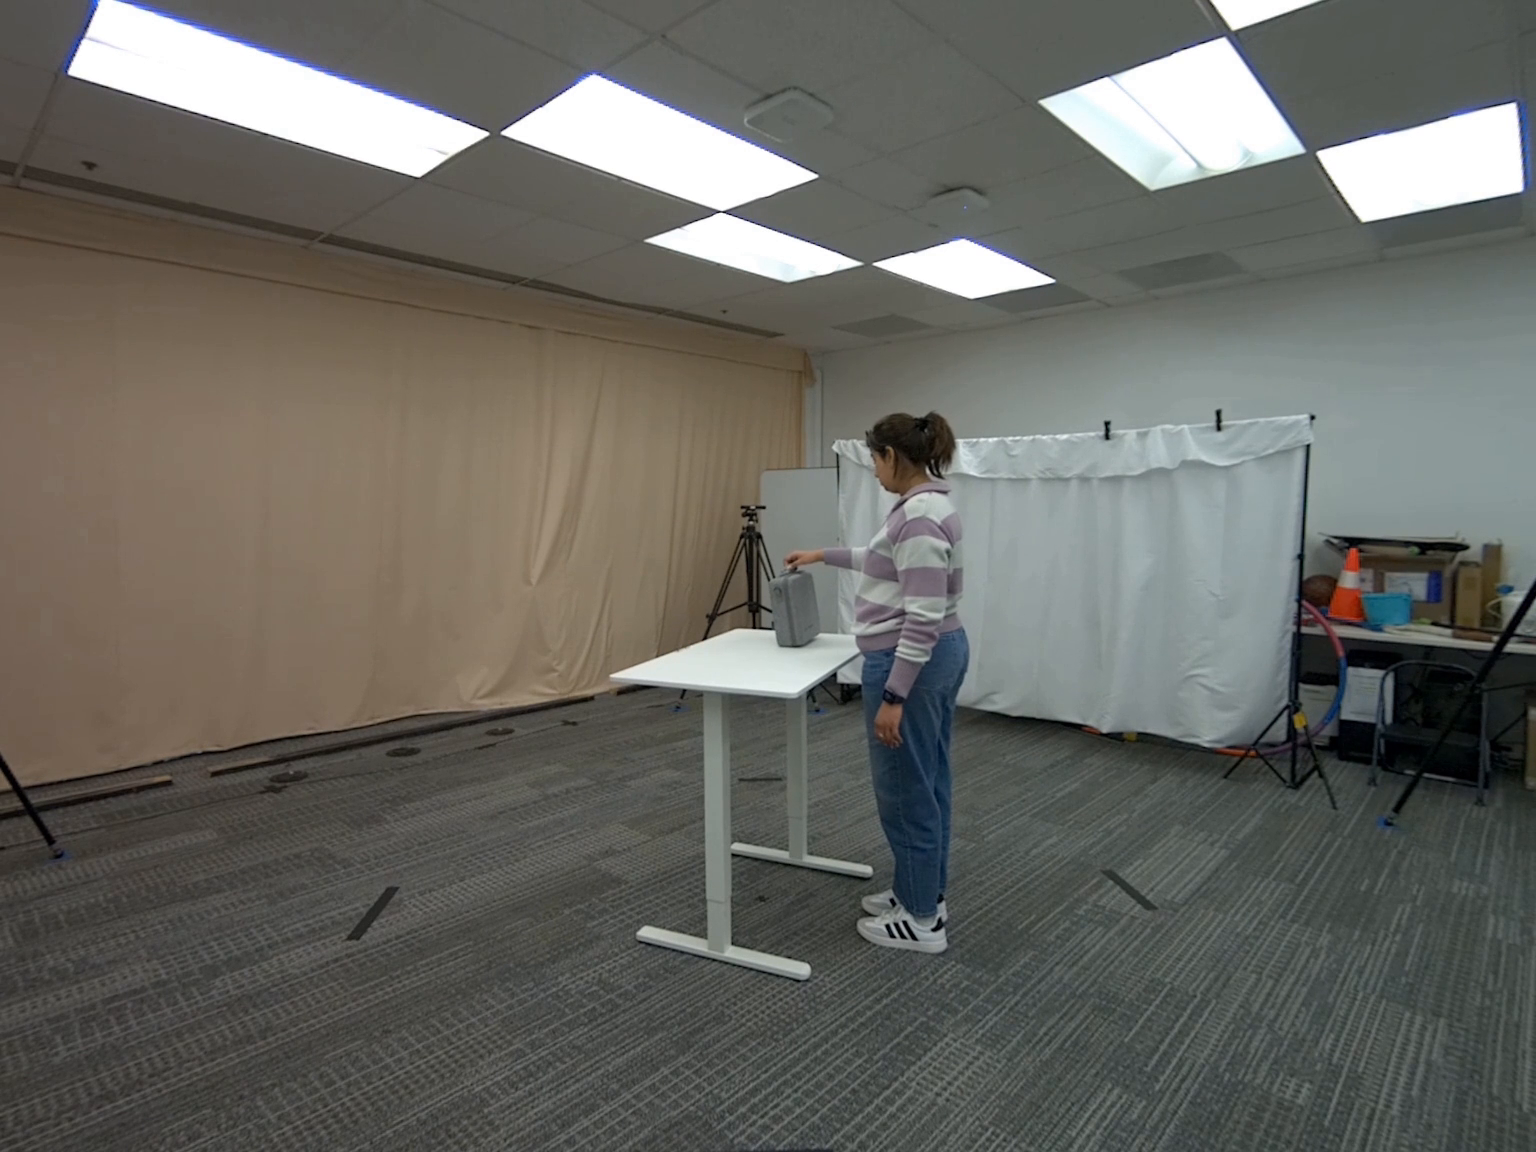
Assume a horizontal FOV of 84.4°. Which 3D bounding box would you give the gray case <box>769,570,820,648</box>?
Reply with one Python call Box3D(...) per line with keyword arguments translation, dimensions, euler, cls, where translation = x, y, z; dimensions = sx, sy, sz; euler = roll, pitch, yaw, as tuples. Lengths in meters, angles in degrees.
Box3D(translation=(0.102, 0.115, 3.098), dimensions=(0.106, 0.260, 0.252), euler=(-5, 2, 20), cls="gray case")
